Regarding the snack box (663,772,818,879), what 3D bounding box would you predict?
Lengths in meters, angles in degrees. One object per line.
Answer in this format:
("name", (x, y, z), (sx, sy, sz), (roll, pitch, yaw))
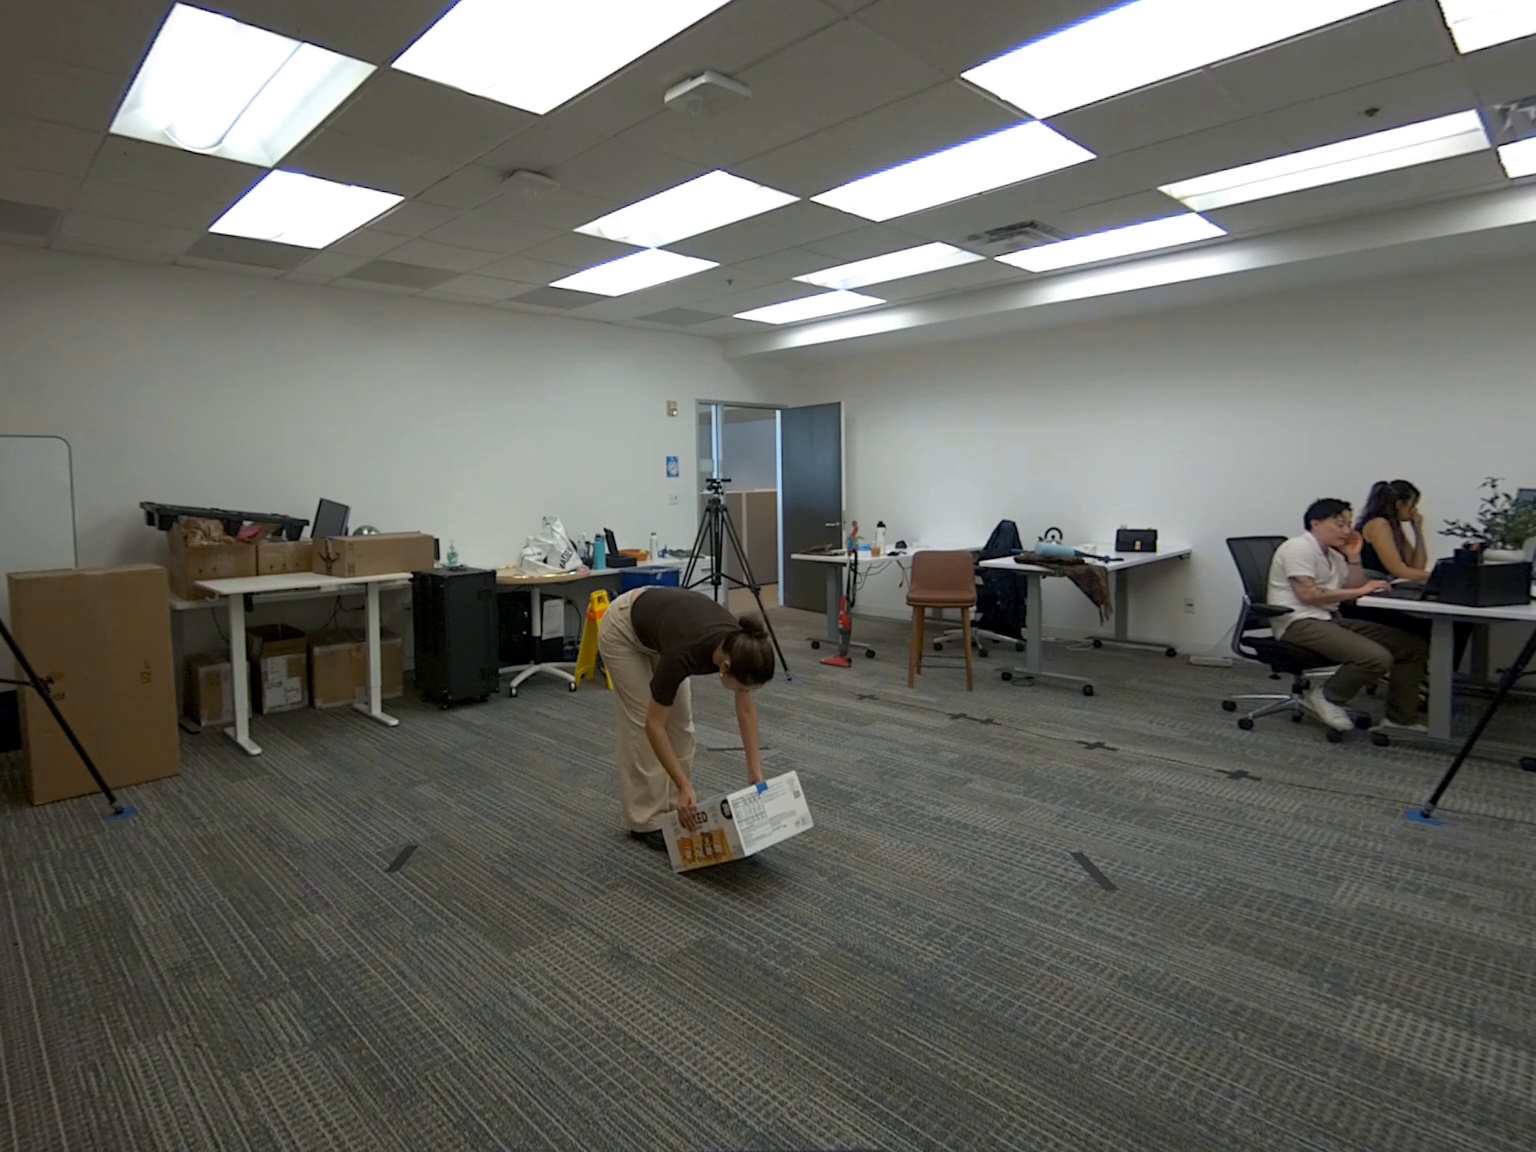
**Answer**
("snack box", (-0.111, 0.885, 3.039), (0.331, 0.209, 0.409), (-8, -17, -44))
